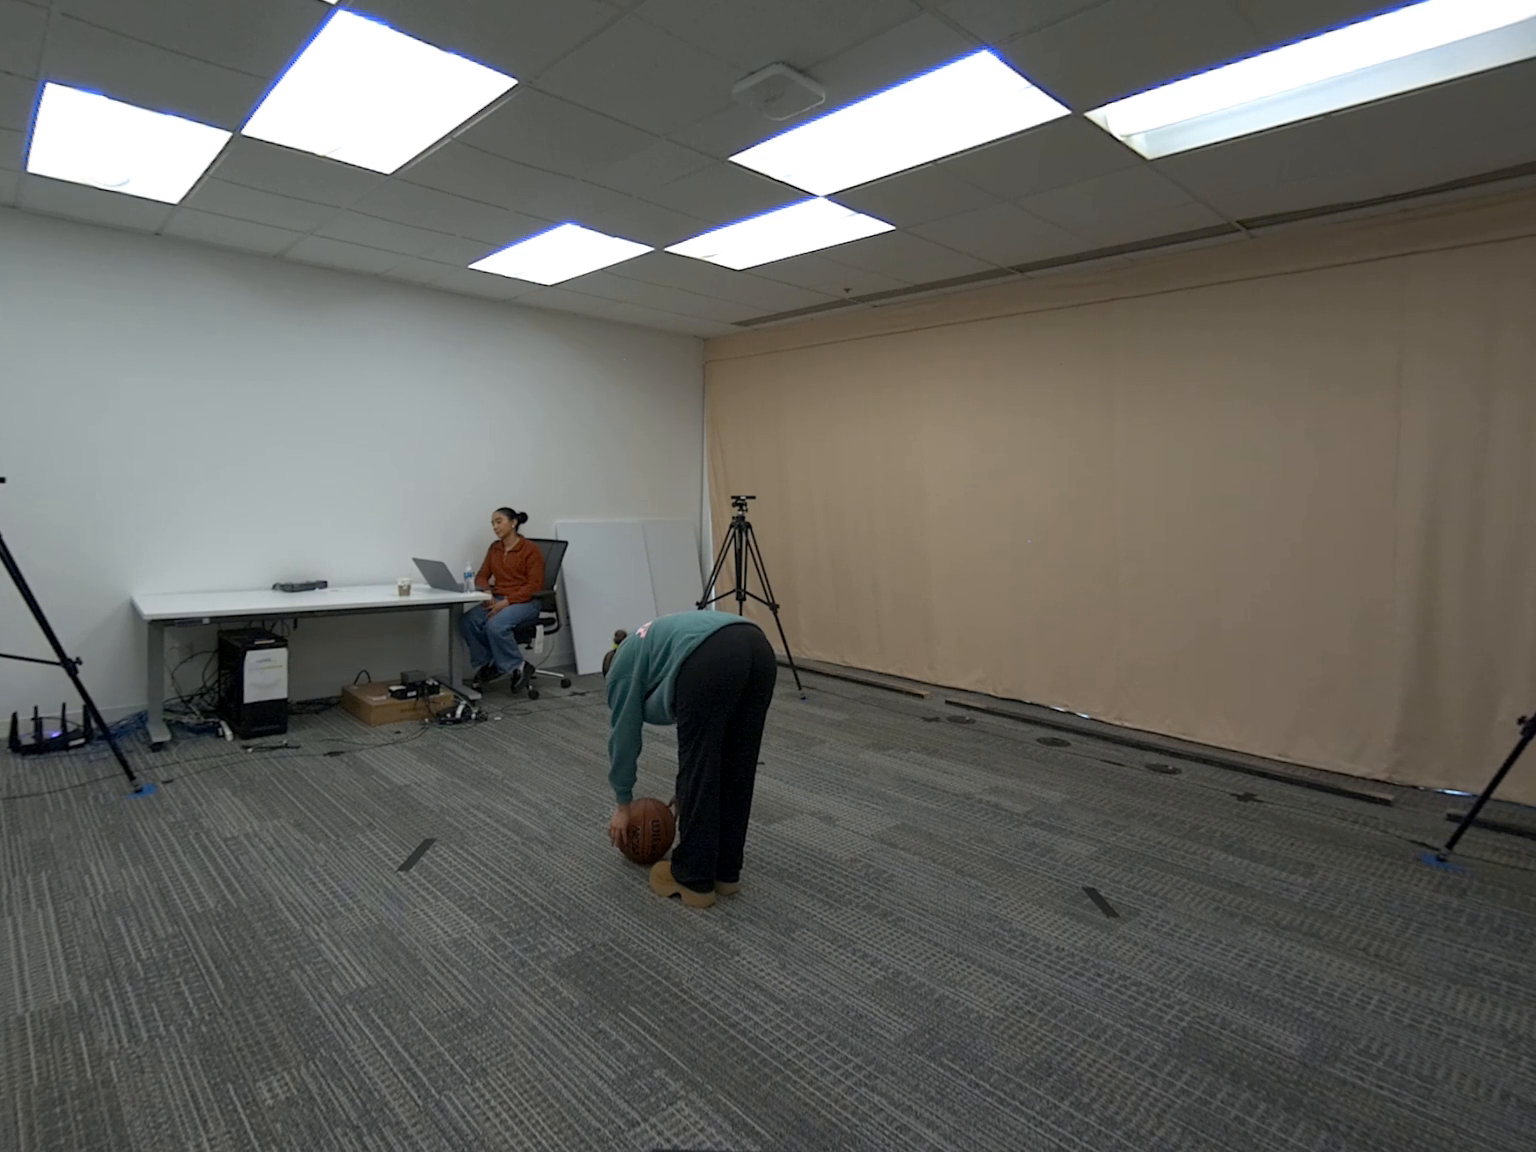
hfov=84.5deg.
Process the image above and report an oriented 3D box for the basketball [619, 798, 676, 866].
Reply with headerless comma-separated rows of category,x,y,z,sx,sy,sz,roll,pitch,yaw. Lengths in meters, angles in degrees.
basketball,-0.471,0.961,3.210,0.236,0.235,0.237,1,4,-1
